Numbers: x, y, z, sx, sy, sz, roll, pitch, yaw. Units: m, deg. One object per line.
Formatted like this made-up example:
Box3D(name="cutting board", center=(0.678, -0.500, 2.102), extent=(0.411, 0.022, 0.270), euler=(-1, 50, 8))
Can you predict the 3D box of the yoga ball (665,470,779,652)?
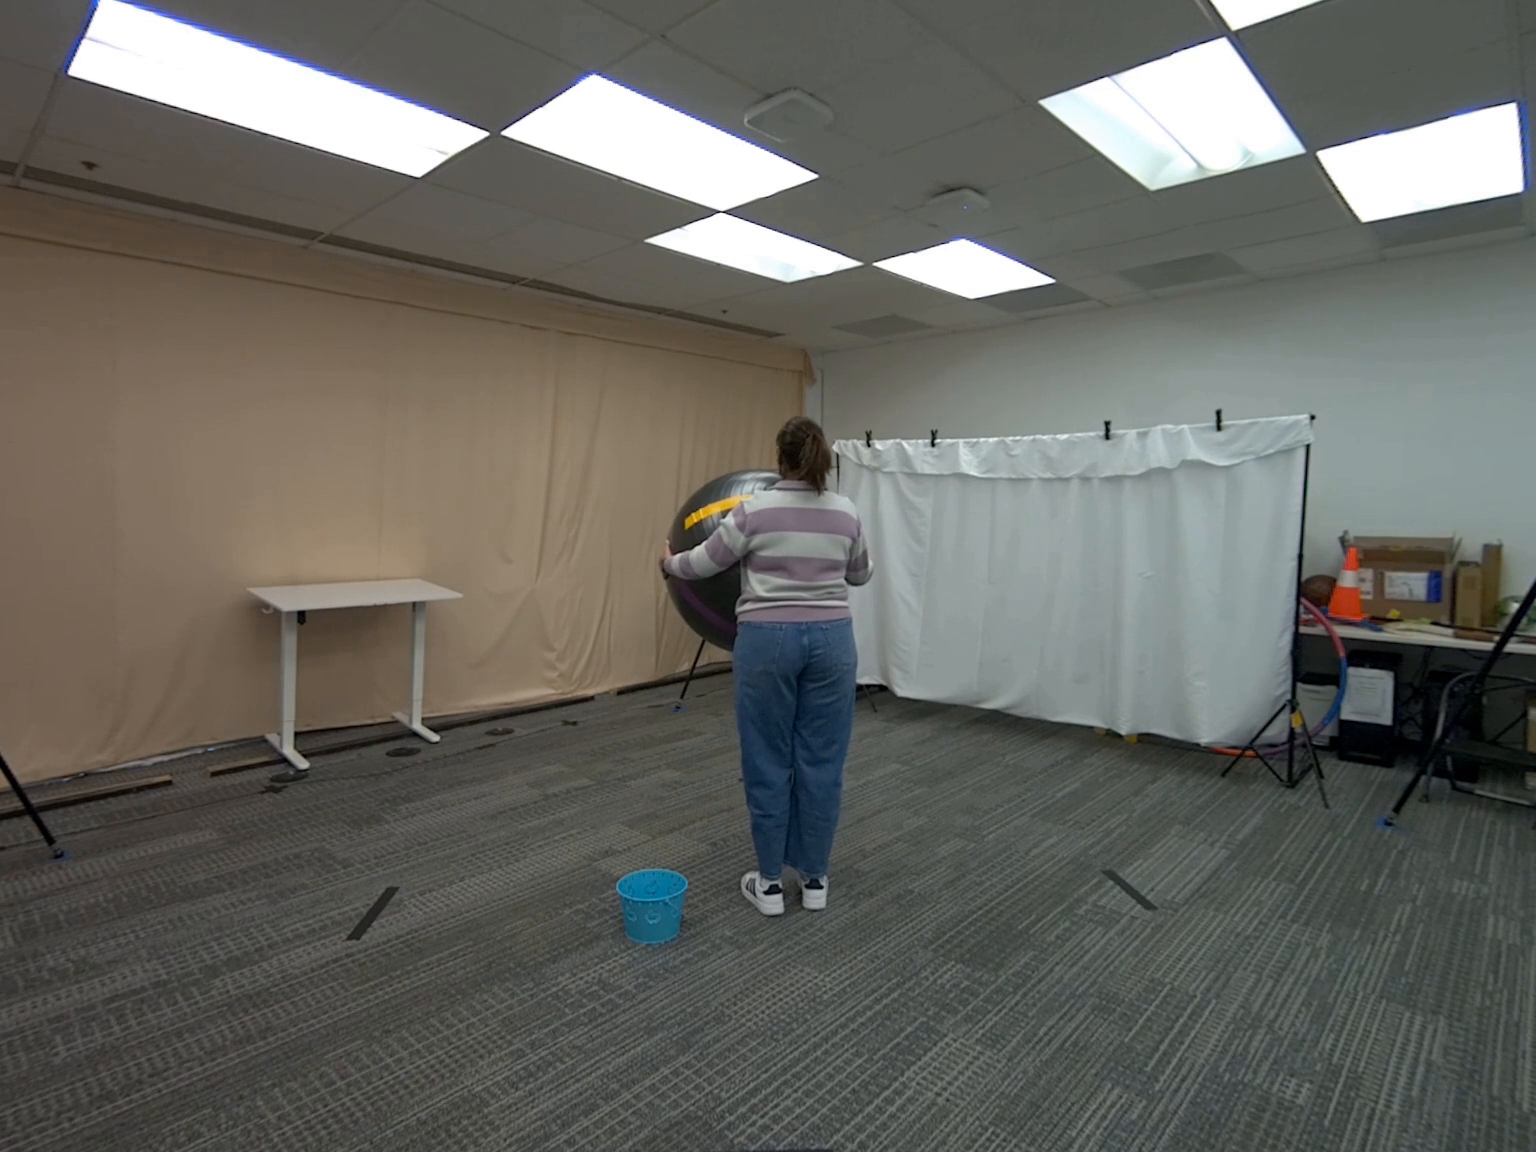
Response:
Box3D(name="yoga ball", center=(-0.046, -0.048, 3.433), extent=(0.757, 0.756, 0.761), euler=(0, 4, -2))
